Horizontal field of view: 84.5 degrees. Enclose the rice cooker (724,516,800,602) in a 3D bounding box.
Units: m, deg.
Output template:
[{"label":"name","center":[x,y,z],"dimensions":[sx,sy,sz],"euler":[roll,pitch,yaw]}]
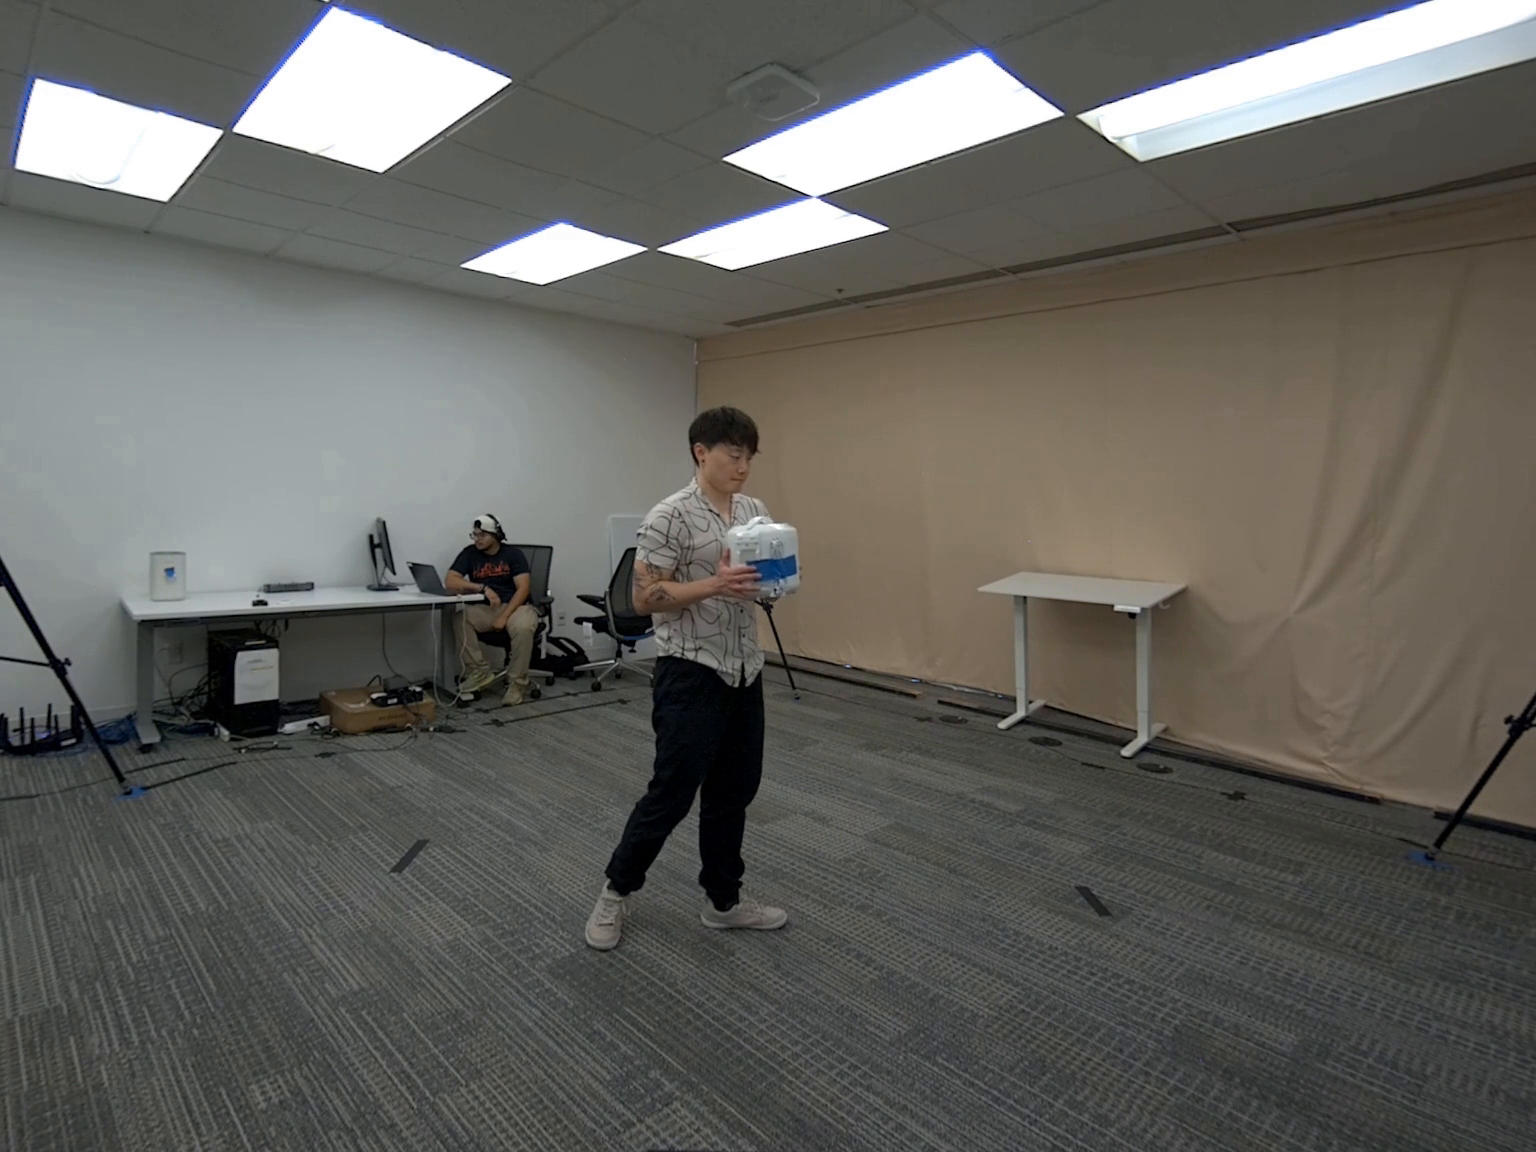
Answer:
[{"label":"rice cooker","center":[-0.032,-0.060,2.471],"dimensions":[0.221,0.232,0.217],"euler":[0,3,24]}]
